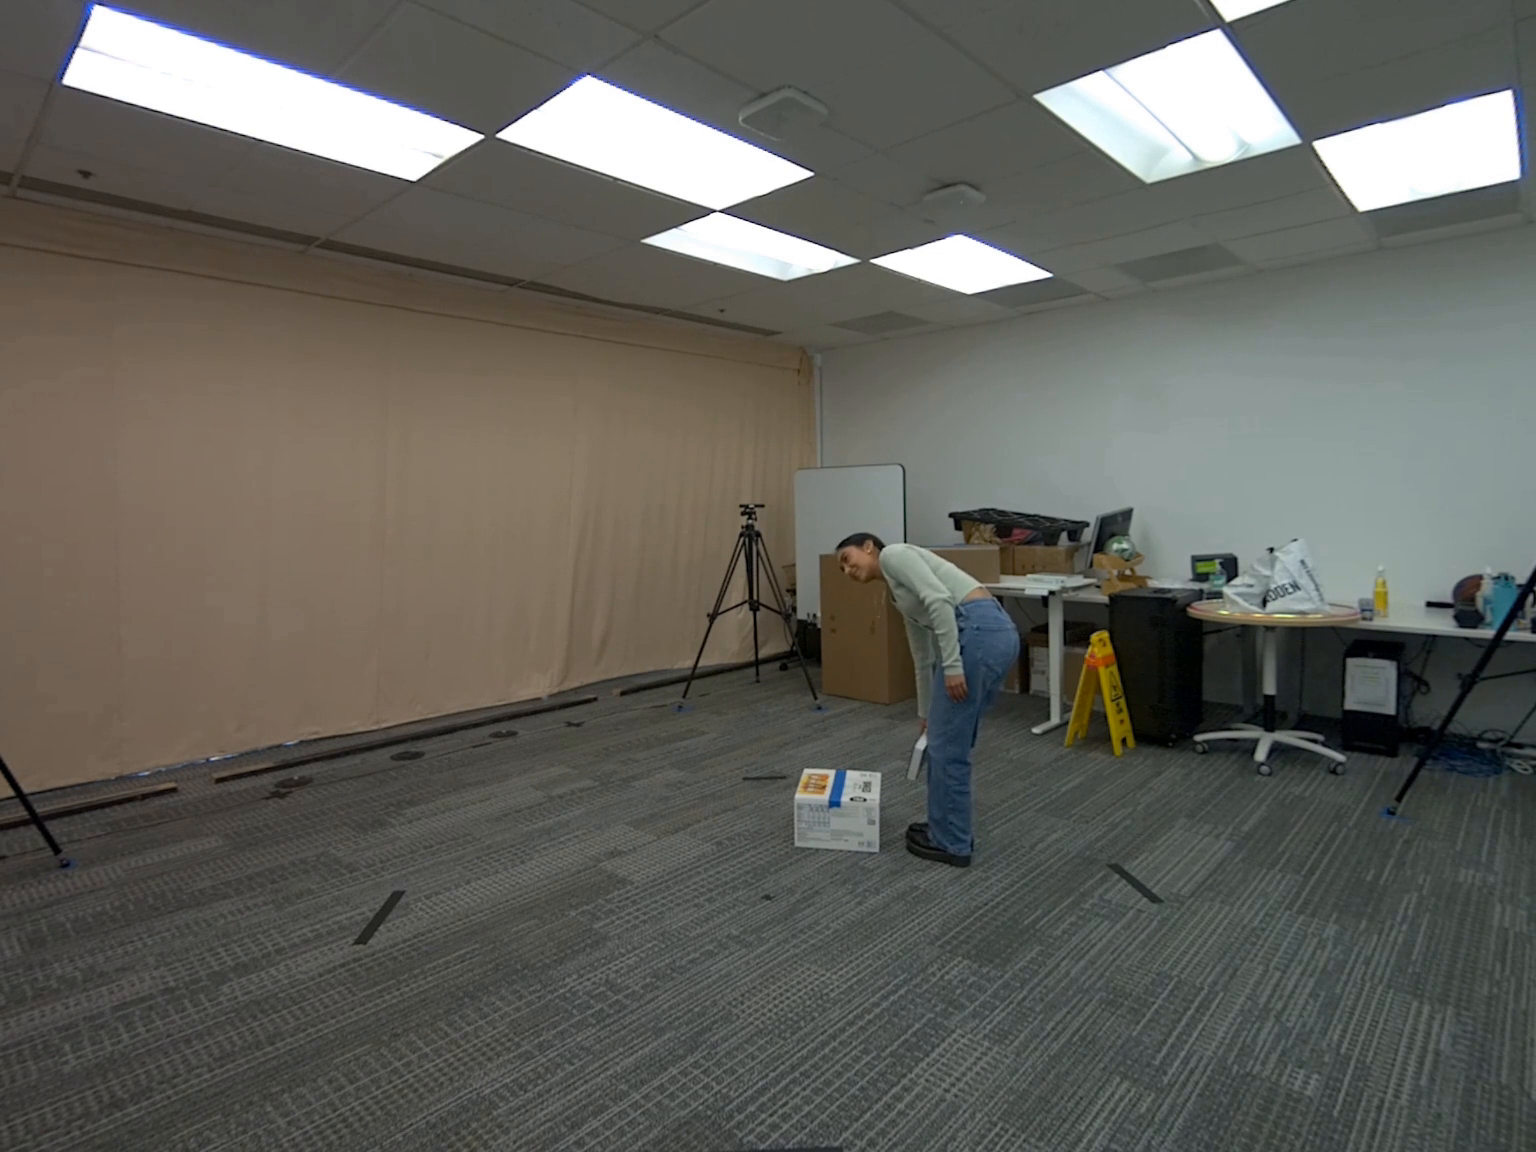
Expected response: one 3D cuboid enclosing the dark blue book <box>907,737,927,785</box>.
[{"bbox_3d":[0.665,0.752,3.613,0.046,0.162,0.241,17,22,20],"label":"dark blue book"}]
